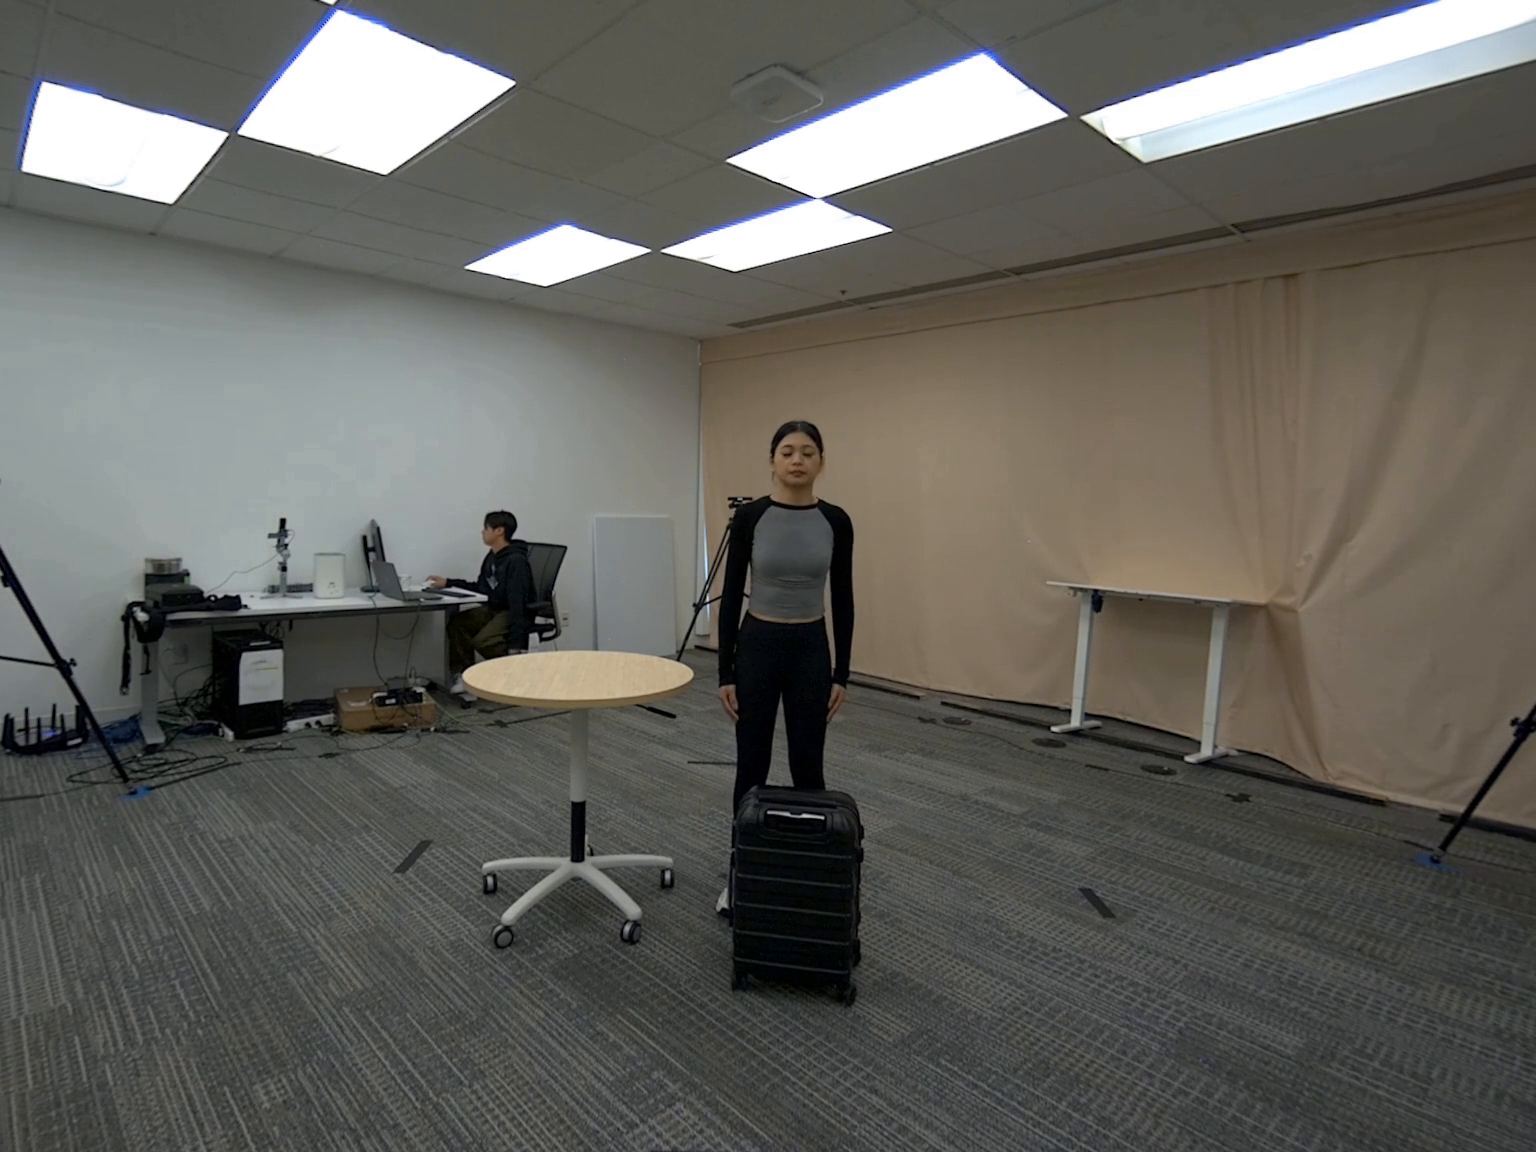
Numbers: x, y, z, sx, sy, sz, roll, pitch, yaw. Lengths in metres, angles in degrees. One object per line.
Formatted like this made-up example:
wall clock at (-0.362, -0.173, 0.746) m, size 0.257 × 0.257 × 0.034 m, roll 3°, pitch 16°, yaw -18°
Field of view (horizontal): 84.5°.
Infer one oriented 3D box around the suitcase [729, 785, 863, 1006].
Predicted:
suitcase at (0.072, 0.899, 2.434) m, size 0.379 × 0.547 × 0.247 m, roll 2°, pitch 4°, yaw 10°
